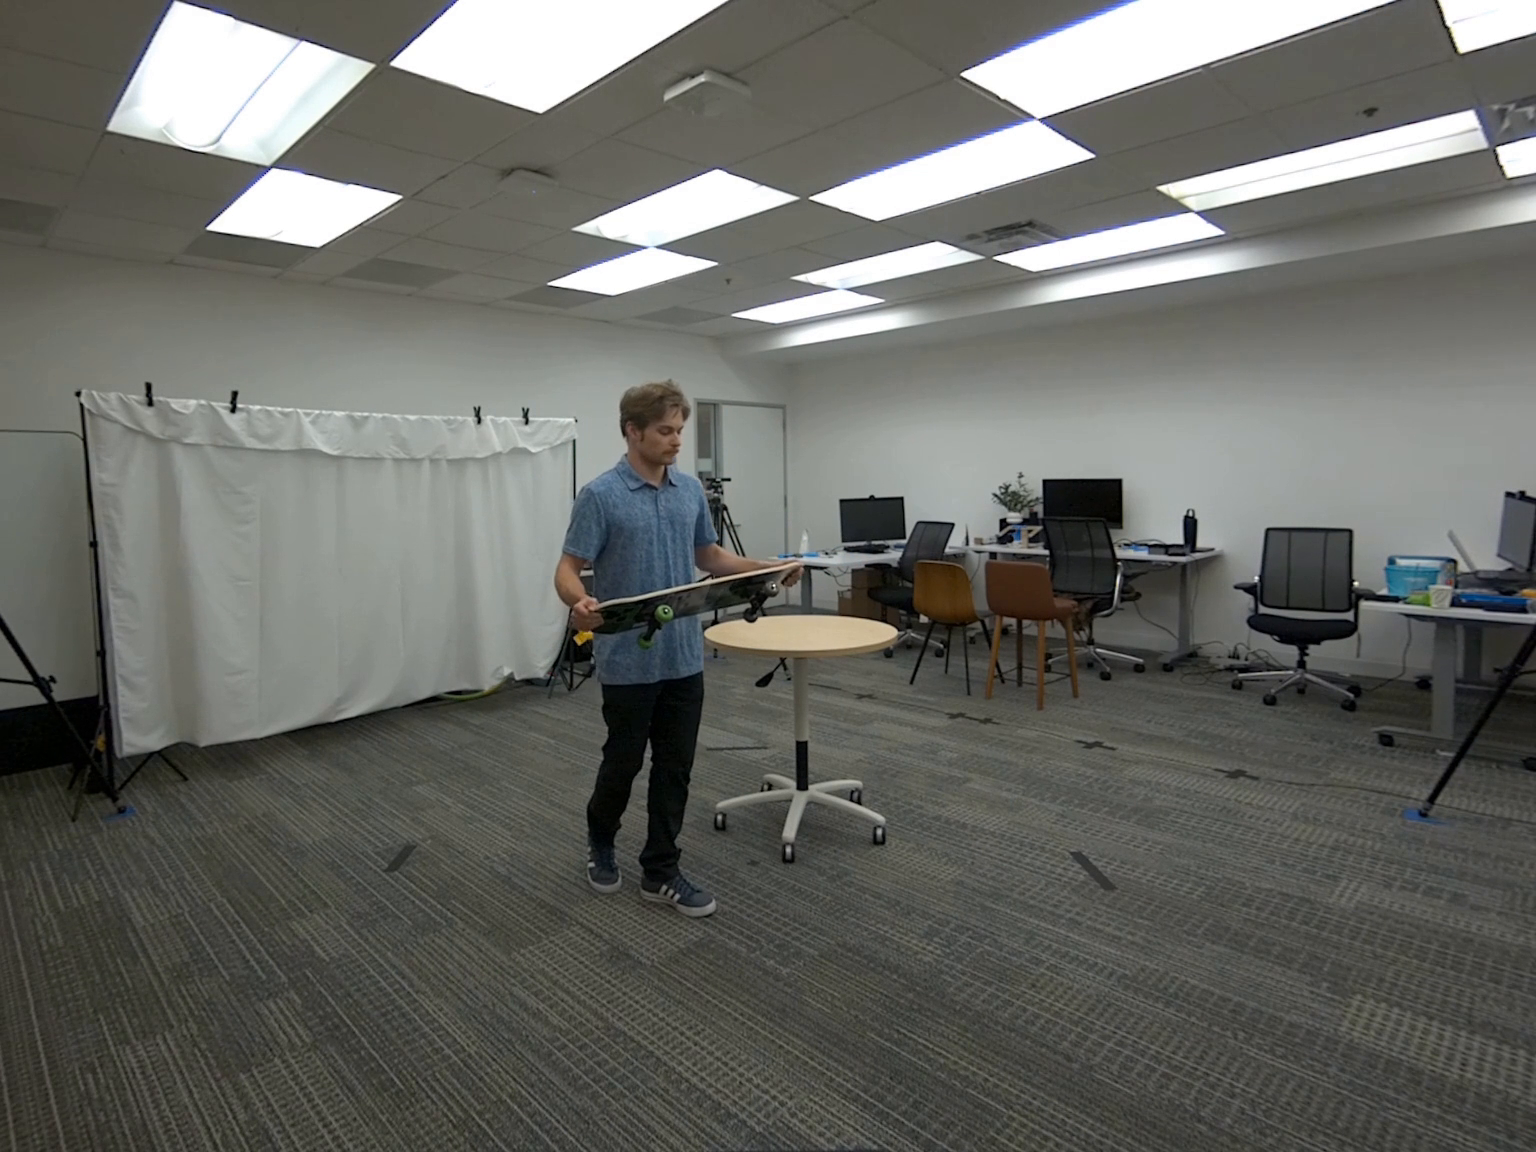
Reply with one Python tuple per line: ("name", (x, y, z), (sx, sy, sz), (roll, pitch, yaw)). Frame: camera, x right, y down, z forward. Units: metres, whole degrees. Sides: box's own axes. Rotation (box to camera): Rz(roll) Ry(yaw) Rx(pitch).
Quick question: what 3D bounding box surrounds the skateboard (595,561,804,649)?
("skateboard", (-0.194, 0.095, 2.616), (0.768, 0.113, 0.192), (-11, -27, -33))
